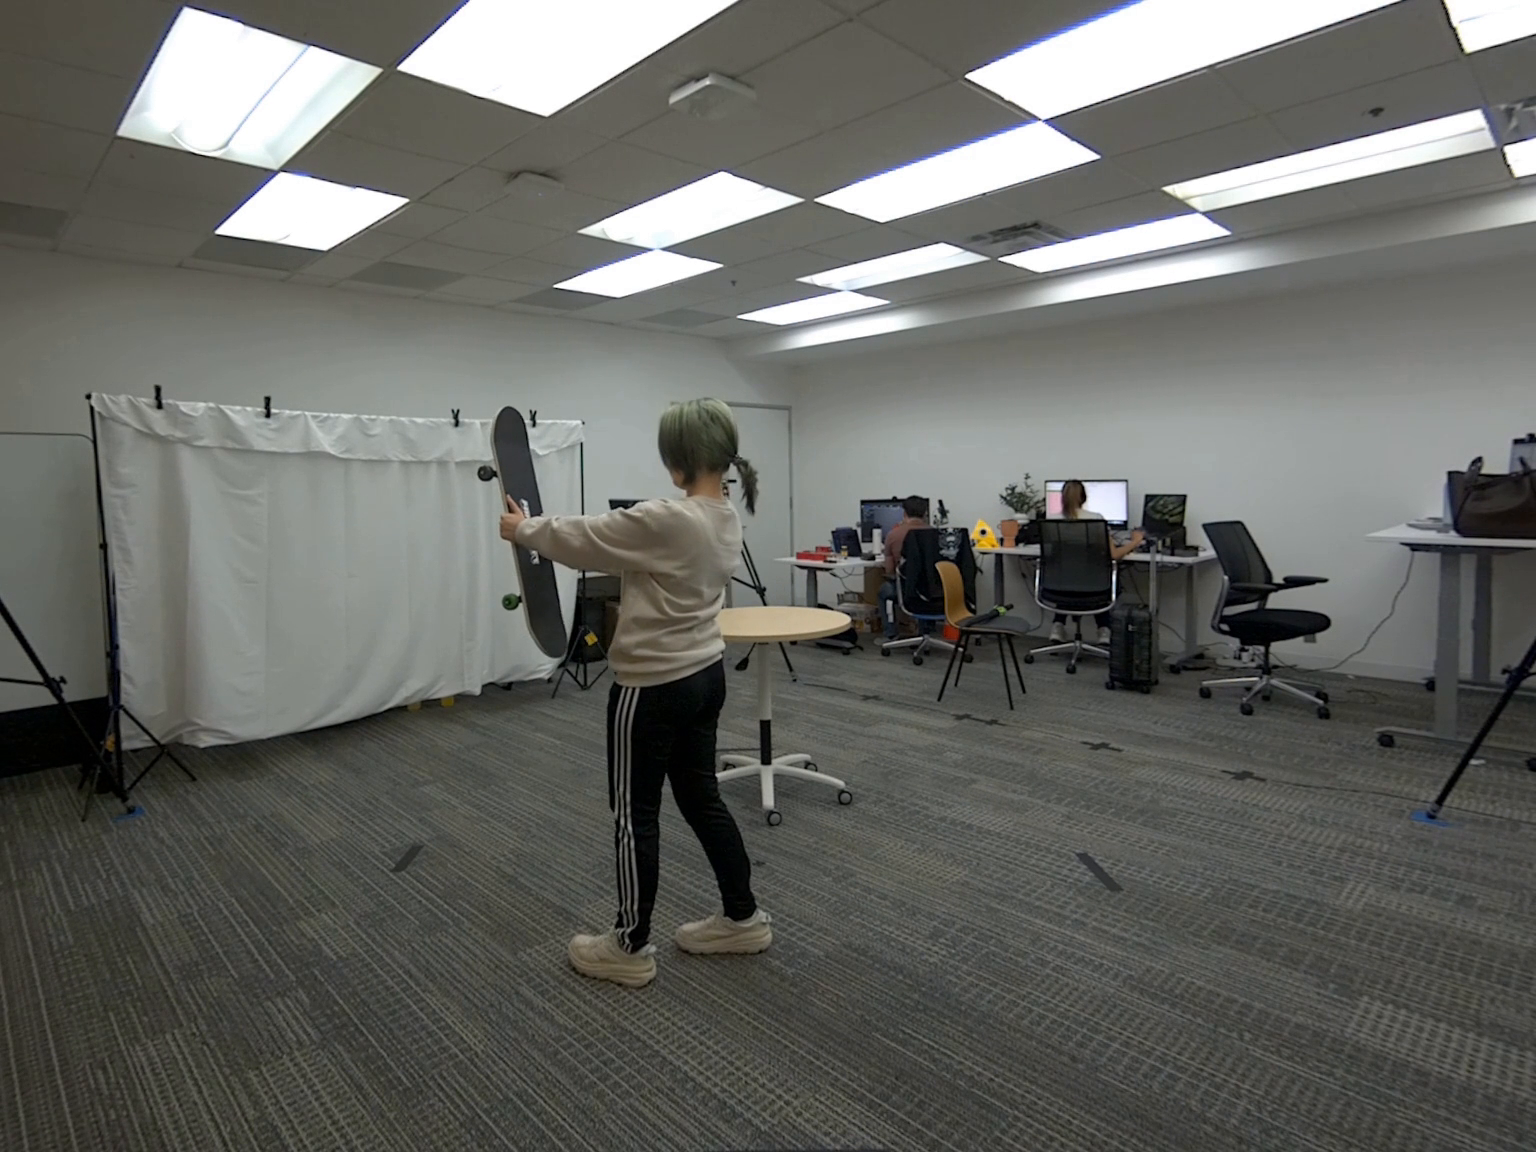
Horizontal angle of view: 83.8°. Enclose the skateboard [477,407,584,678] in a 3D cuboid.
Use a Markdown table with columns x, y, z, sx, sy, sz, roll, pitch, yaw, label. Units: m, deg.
| x | y | z | sx | sy | sz | roll | pitch | yaw | label |
| --- | --- | --- | --- | --- | --- | --- | --- | --- | --- |
| -0.766 | -0.125 | 2.639 | 0.112 | 0.787 | 0.190 | -12 | -2 | 19 | skateboard |
